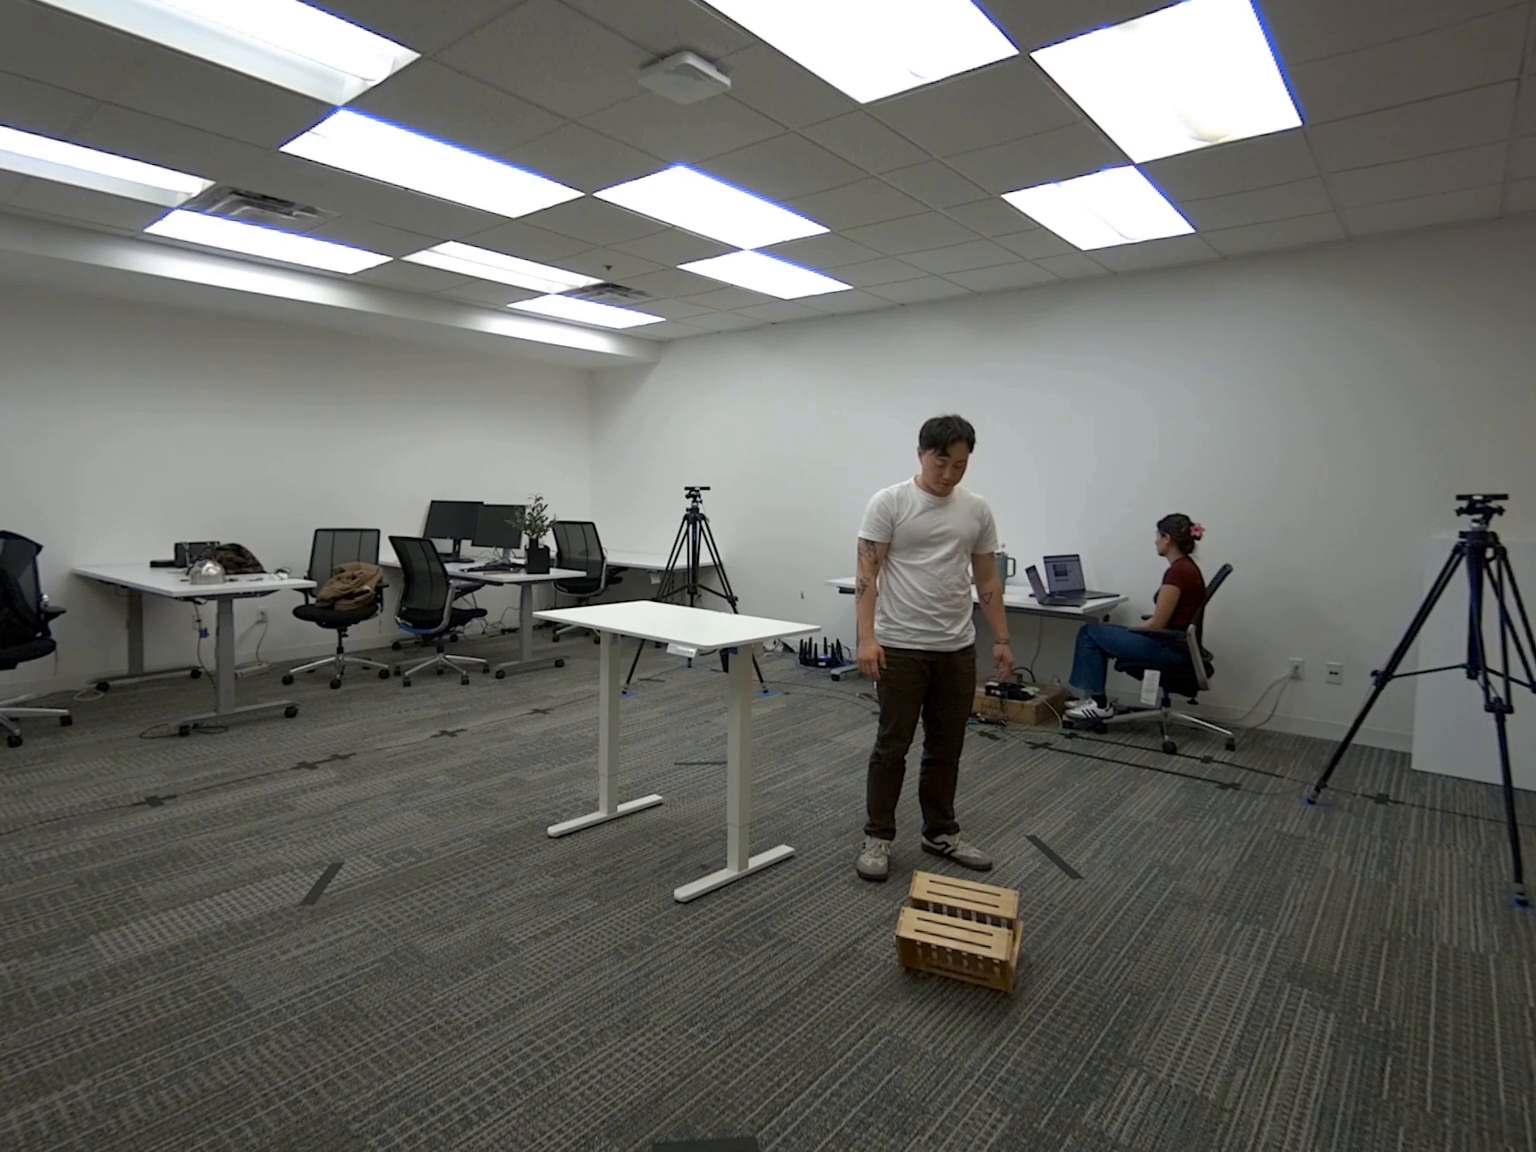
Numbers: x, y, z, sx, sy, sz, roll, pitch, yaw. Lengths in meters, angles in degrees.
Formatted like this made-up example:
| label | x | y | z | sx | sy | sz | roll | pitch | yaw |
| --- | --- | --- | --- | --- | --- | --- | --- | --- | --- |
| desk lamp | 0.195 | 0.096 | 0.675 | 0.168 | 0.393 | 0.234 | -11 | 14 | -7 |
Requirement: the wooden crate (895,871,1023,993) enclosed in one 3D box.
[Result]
| label | x | y | z | sx | sy | sz | roll | pitch | yaw |
| --- | --- | --- | --- | --- | --- | --- | --- | --- | --- |
| wooden crate | 0.547 | 1.054 | 2.466 | 0.332 | 0.293 | 0.274 | 3 | 33 | 23 |
